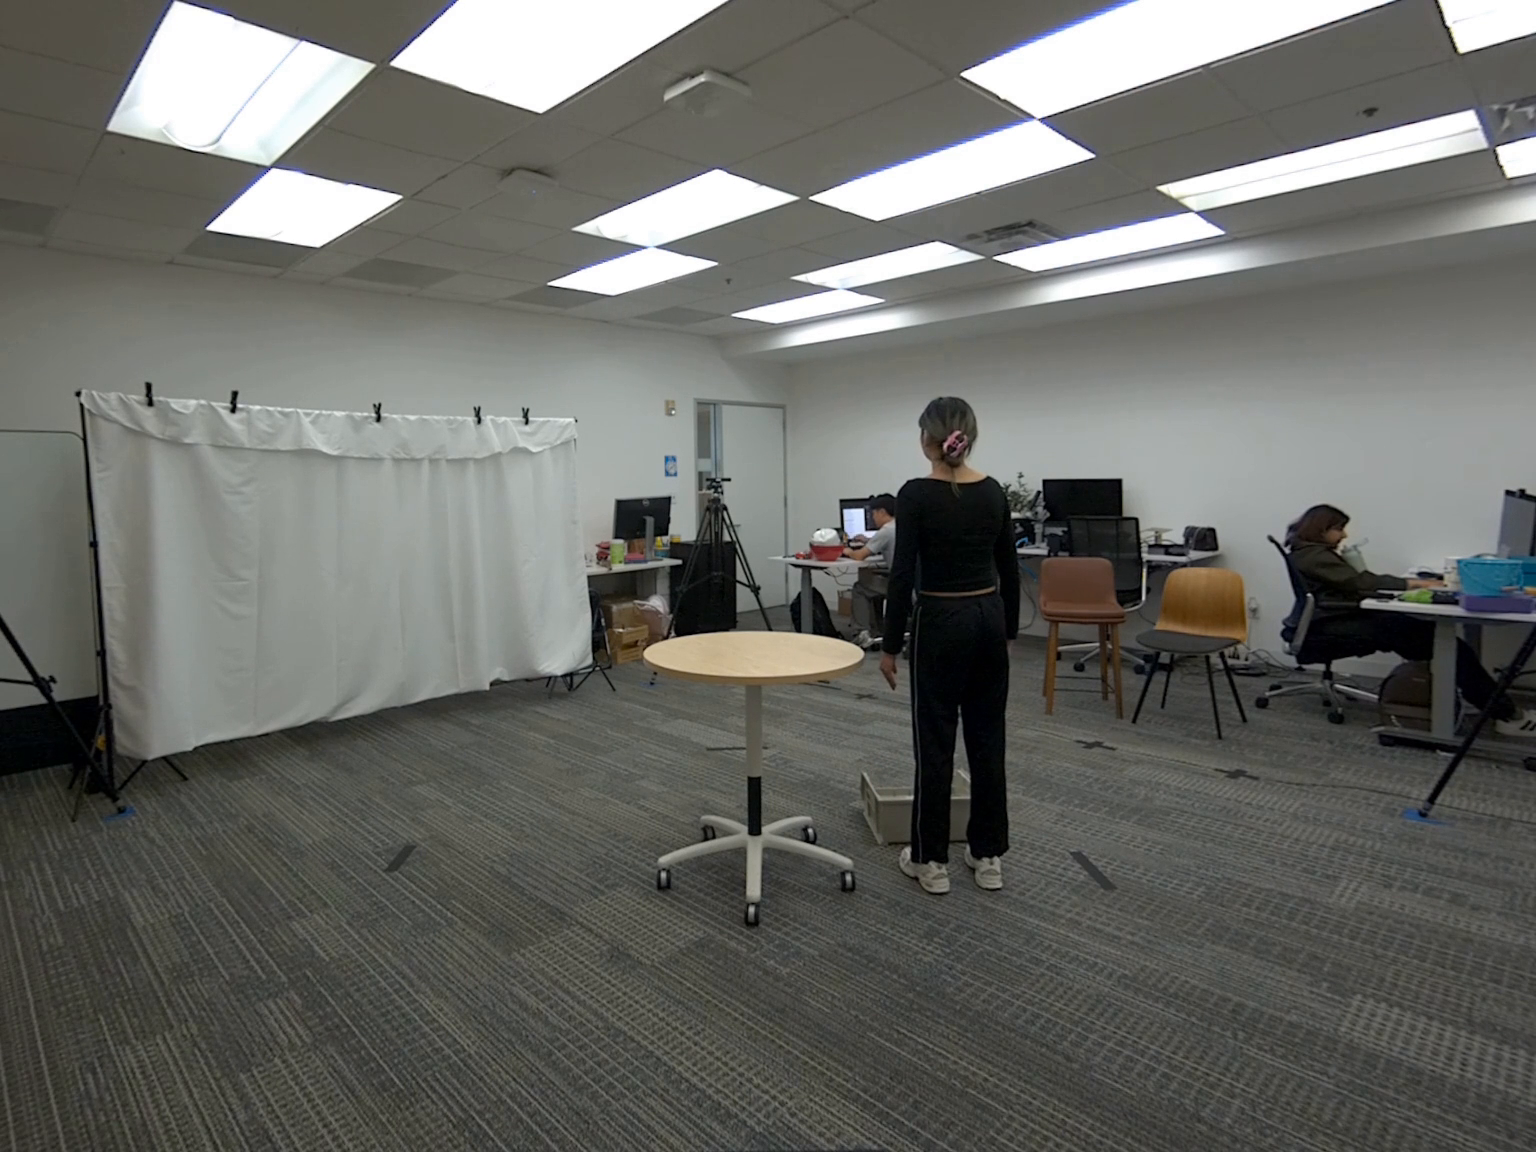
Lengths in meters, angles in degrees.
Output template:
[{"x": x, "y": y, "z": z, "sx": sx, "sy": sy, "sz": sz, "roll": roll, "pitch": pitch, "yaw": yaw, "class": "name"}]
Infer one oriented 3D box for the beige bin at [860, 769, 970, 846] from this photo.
[{"x": 0.615, "y": 0.910, "z": 3.411, "sx": 0.421, "sy": 0.188, "sz": 0.380, "roll": -1, "pitch": 7, "yaw": -3, "class": "beige bin"}]
